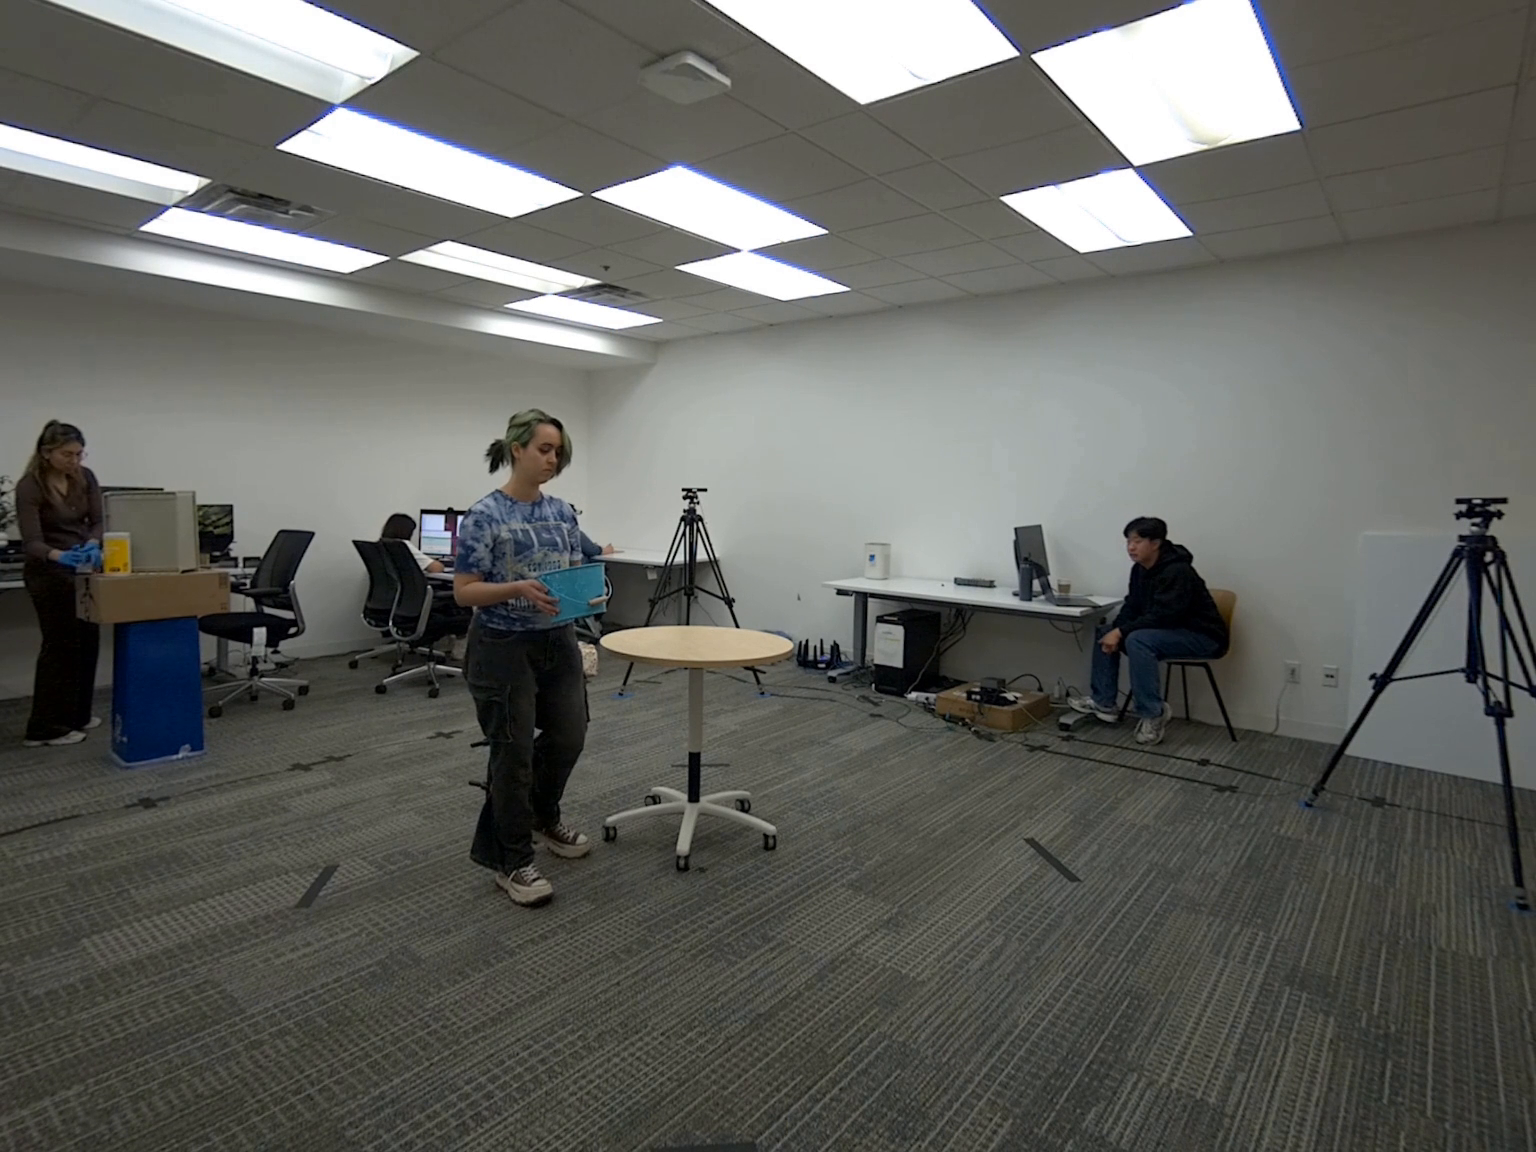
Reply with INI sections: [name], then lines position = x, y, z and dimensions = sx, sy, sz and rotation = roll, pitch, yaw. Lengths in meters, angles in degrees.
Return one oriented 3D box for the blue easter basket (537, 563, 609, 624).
[blue easter basket]
position = -0.644, 0.062, 2.710
dimensions = 0.243, 0.157, 0.242
rotation = -11, -4, -3
